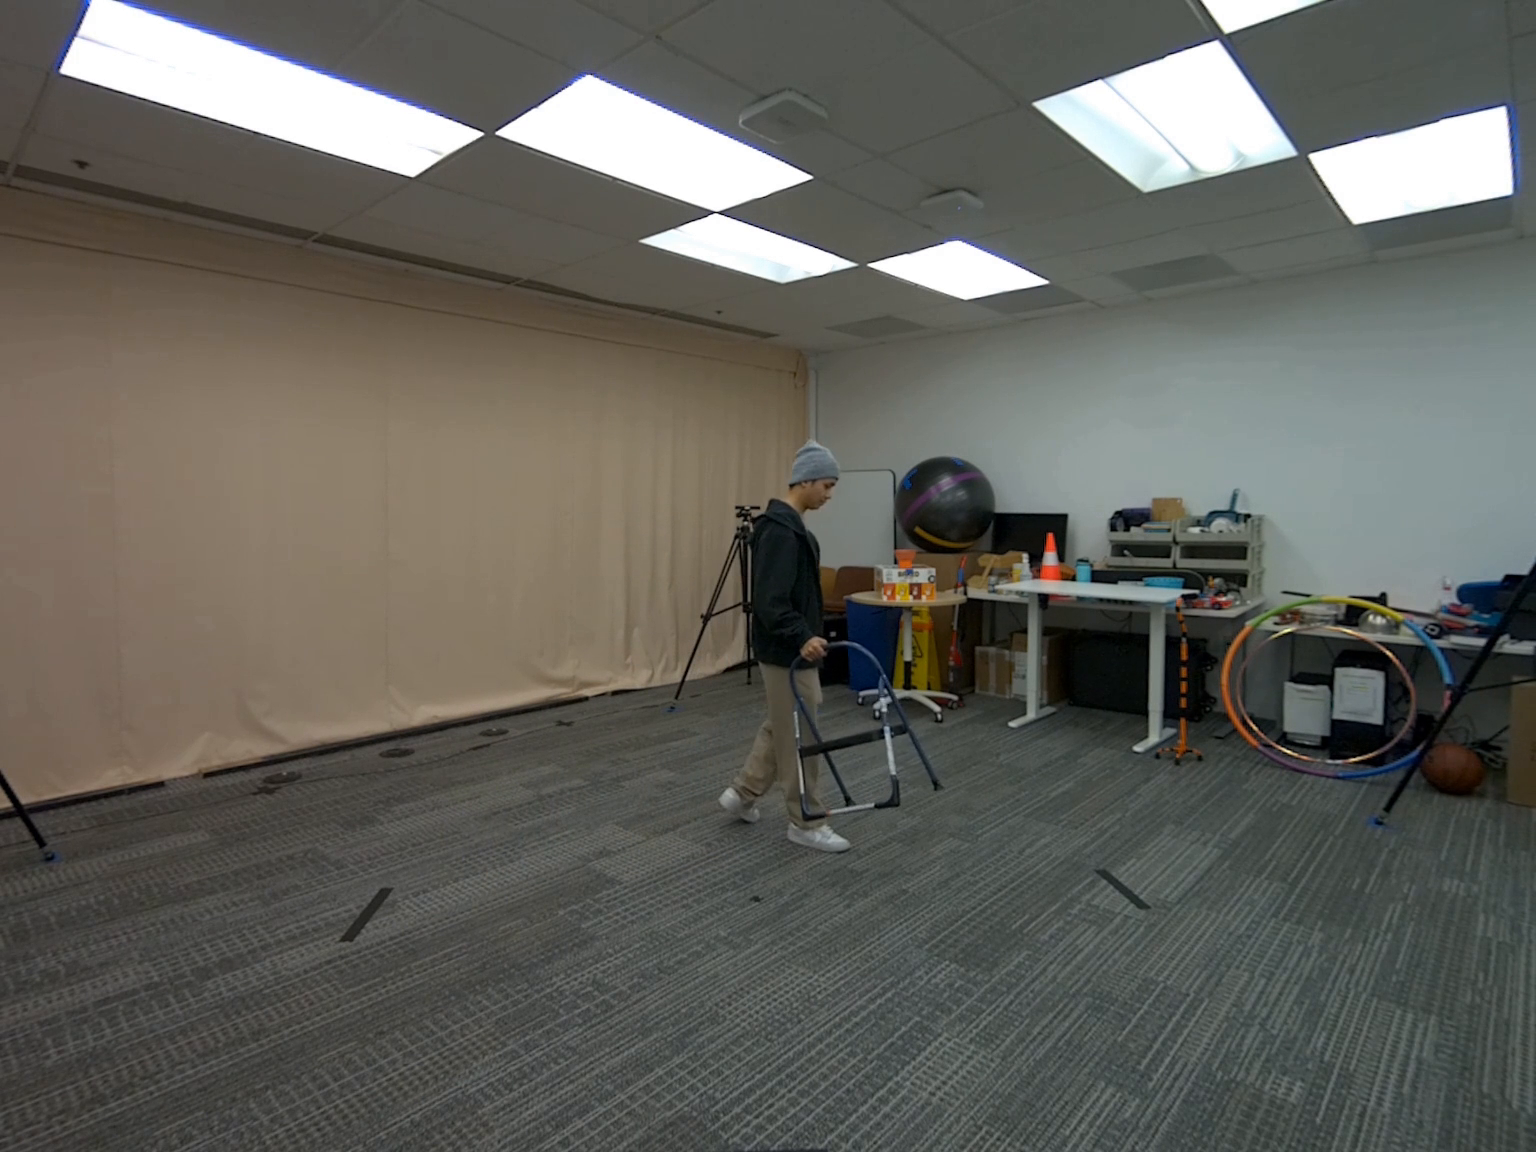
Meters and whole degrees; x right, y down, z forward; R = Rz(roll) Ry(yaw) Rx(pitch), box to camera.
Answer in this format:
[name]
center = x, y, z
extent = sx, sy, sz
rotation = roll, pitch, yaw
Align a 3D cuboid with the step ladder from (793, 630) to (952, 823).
[step ladder]
center = 0.331, 0.559, 3.173
extent = 0.440, 0.613, 0.338
rotation = -23, -15, 35
